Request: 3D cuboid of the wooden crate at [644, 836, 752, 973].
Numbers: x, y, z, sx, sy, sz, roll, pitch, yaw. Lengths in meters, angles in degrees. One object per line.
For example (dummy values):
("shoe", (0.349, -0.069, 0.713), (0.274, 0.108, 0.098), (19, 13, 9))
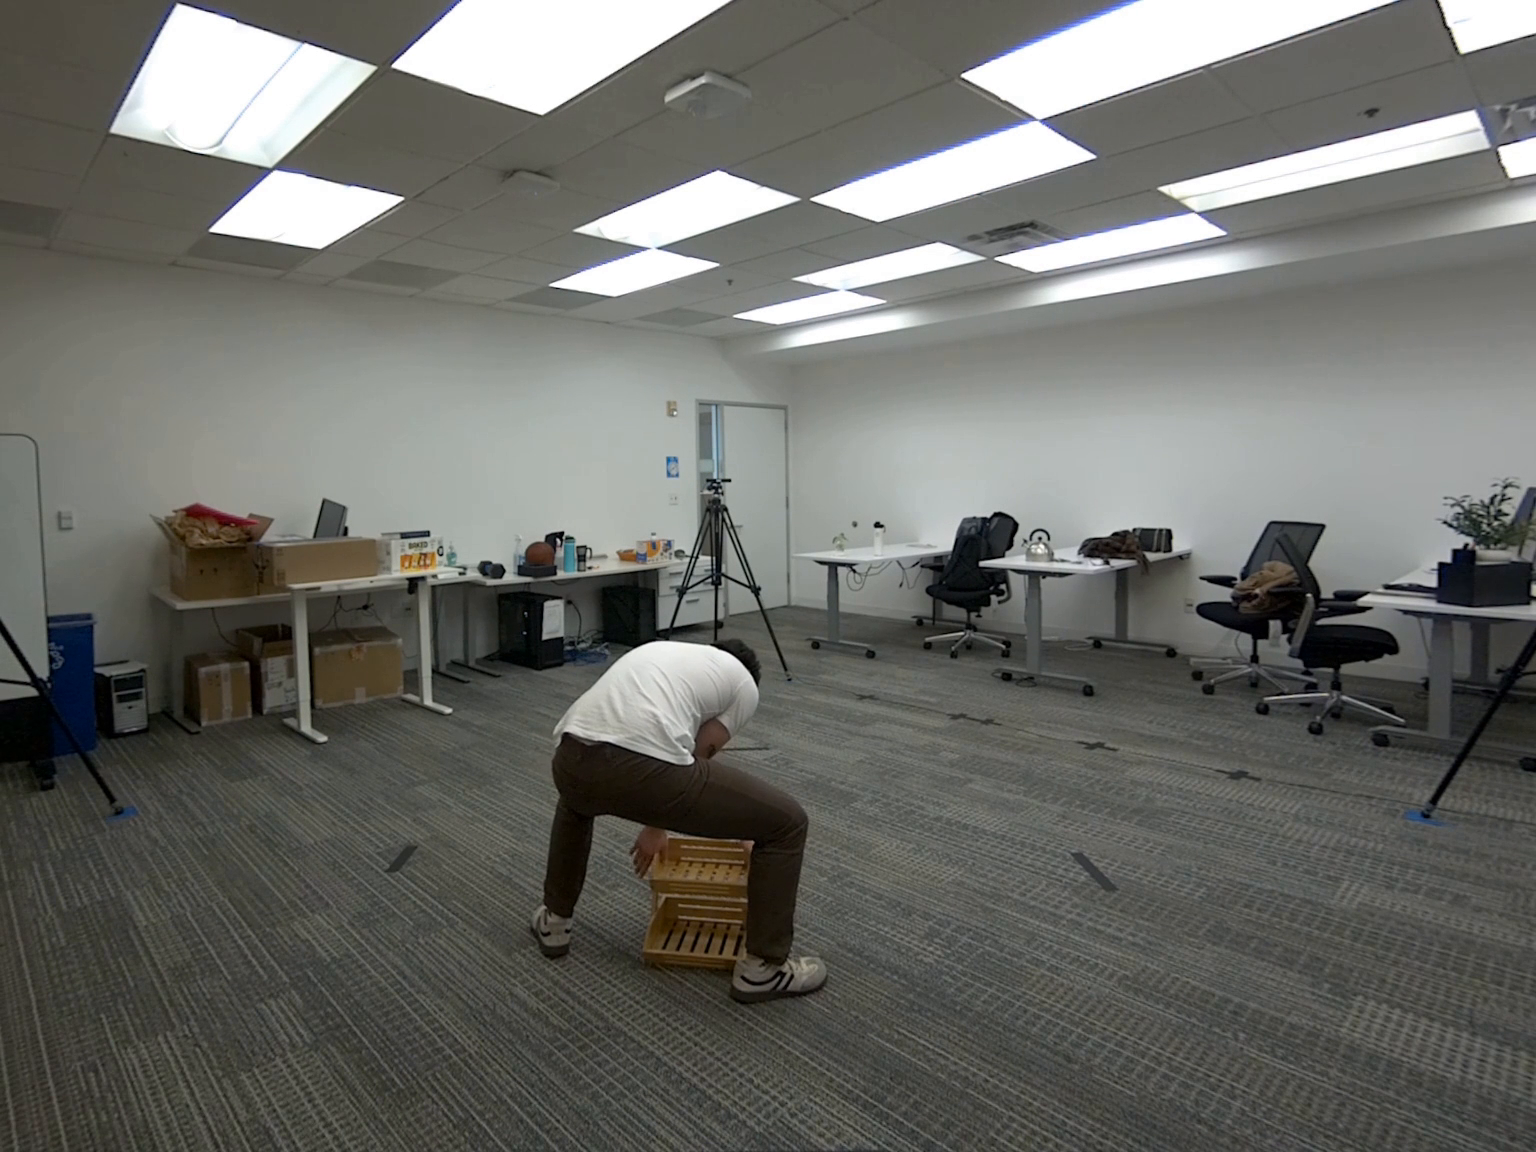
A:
("wooden crate", (-0.188, 0.982, 2.563), (0.327, 0.272, 0.300), (-1, 5, 9))
